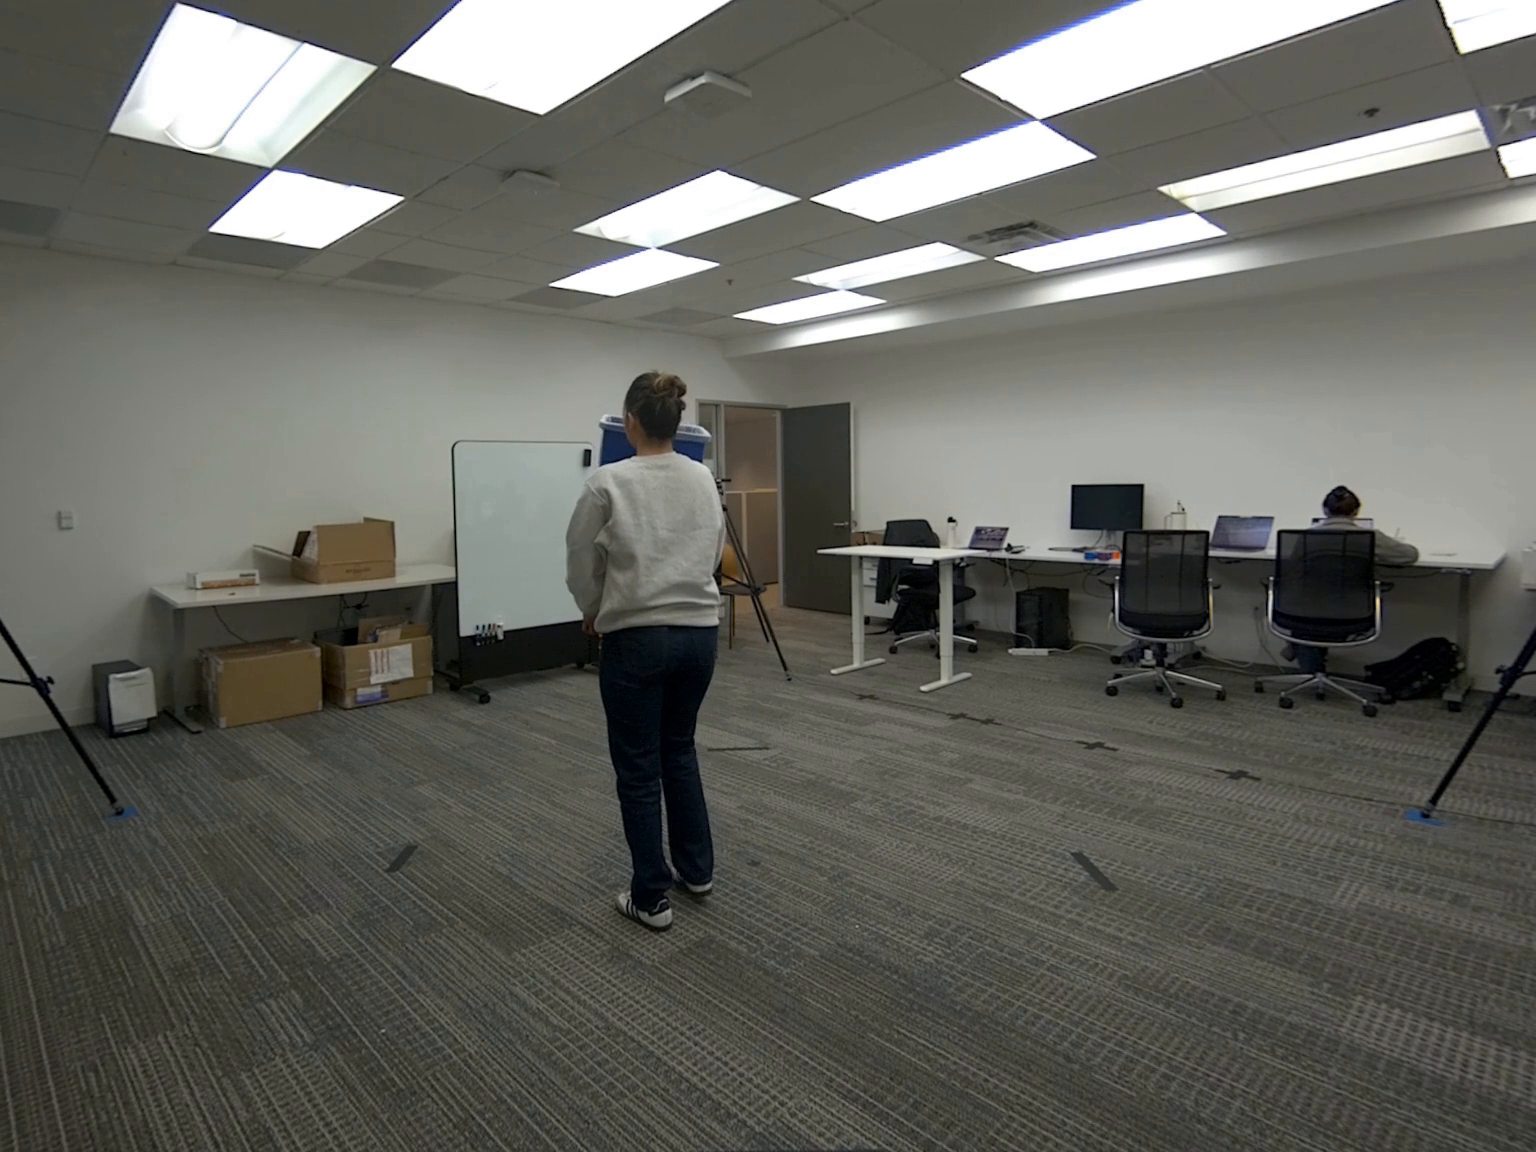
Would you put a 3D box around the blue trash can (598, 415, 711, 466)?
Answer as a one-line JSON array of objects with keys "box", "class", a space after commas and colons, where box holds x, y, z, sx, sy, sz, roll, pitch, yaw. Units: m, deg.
[{"box": [-0.437, -0.184, 2.994, 0.375, 0.707, 0.380, 5, 11, -8], "class": "blue trash can"}]
